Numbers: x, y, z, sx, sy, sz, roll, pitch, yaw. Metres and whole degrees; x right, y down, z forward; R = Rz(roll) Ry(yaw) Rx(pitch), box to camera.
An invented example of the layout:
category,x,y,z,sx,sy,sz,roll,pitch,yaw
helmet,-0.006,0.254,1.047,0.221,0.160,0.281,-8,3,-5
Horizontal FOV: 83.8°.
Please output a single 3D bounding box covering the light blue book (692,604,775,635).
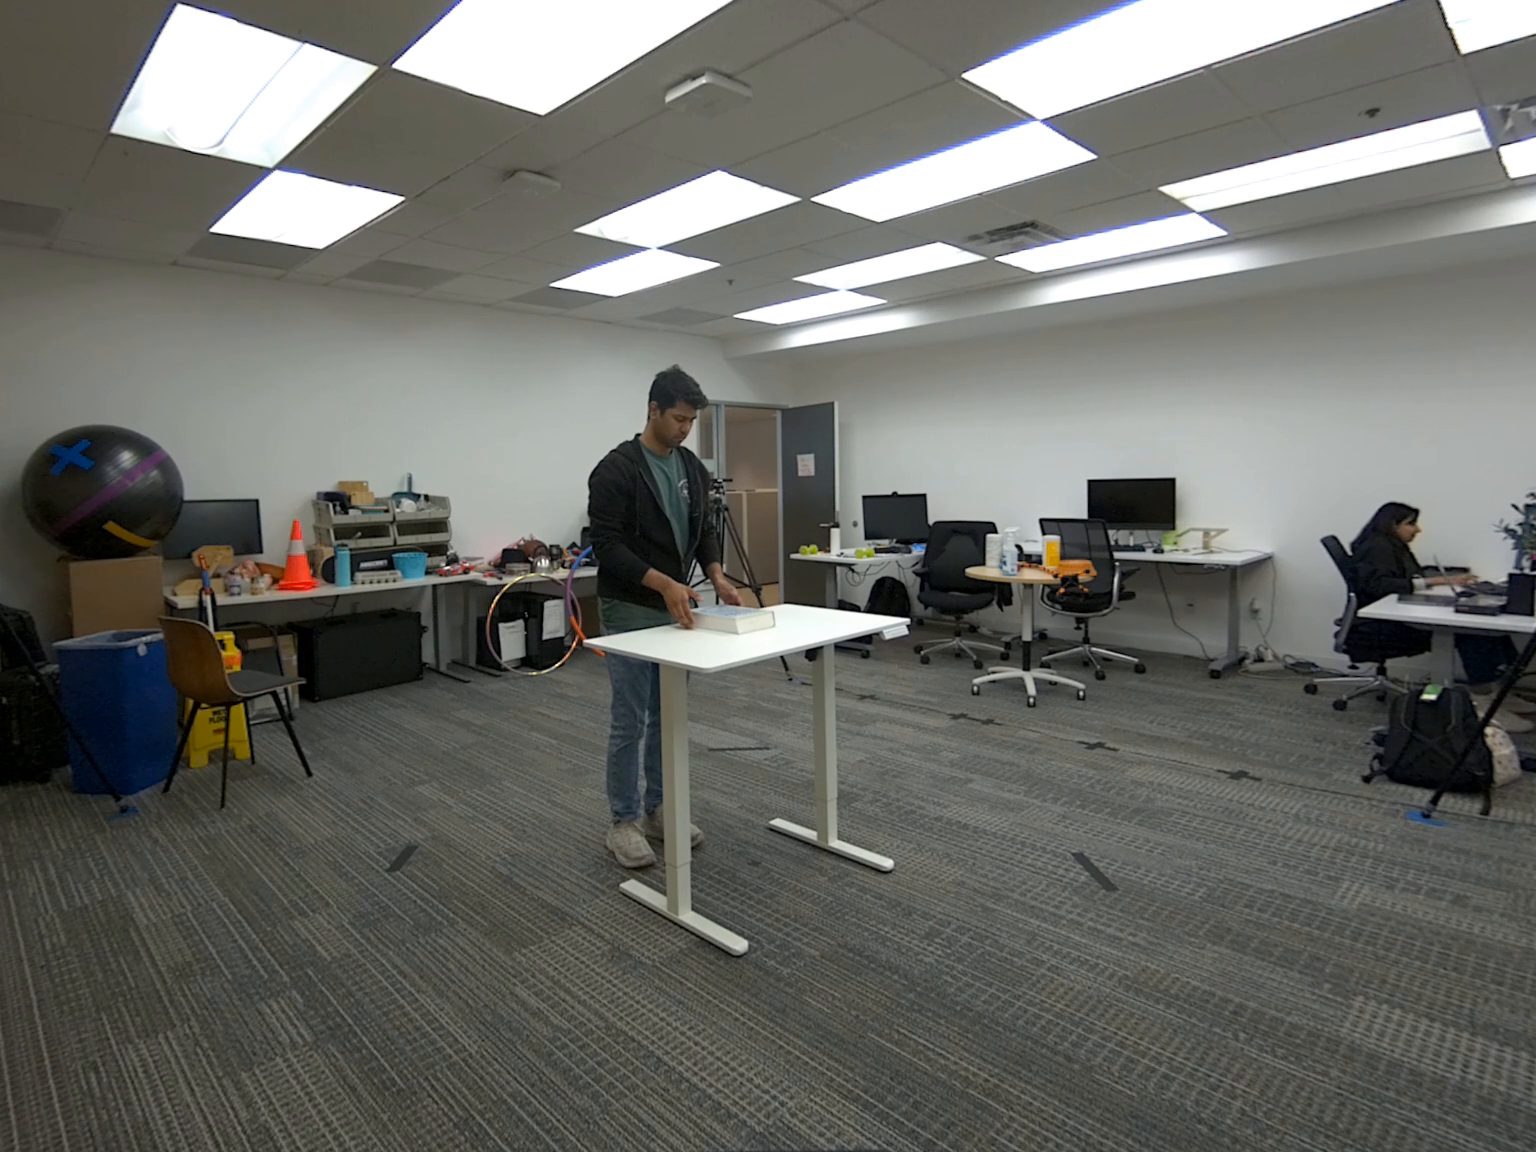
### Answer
category,x,y,z,sx,sy,sz,roll,pitch,yaw
light blue book,-0.139,0.153,3.011,0.269,0.059,0.186,4,8,45
